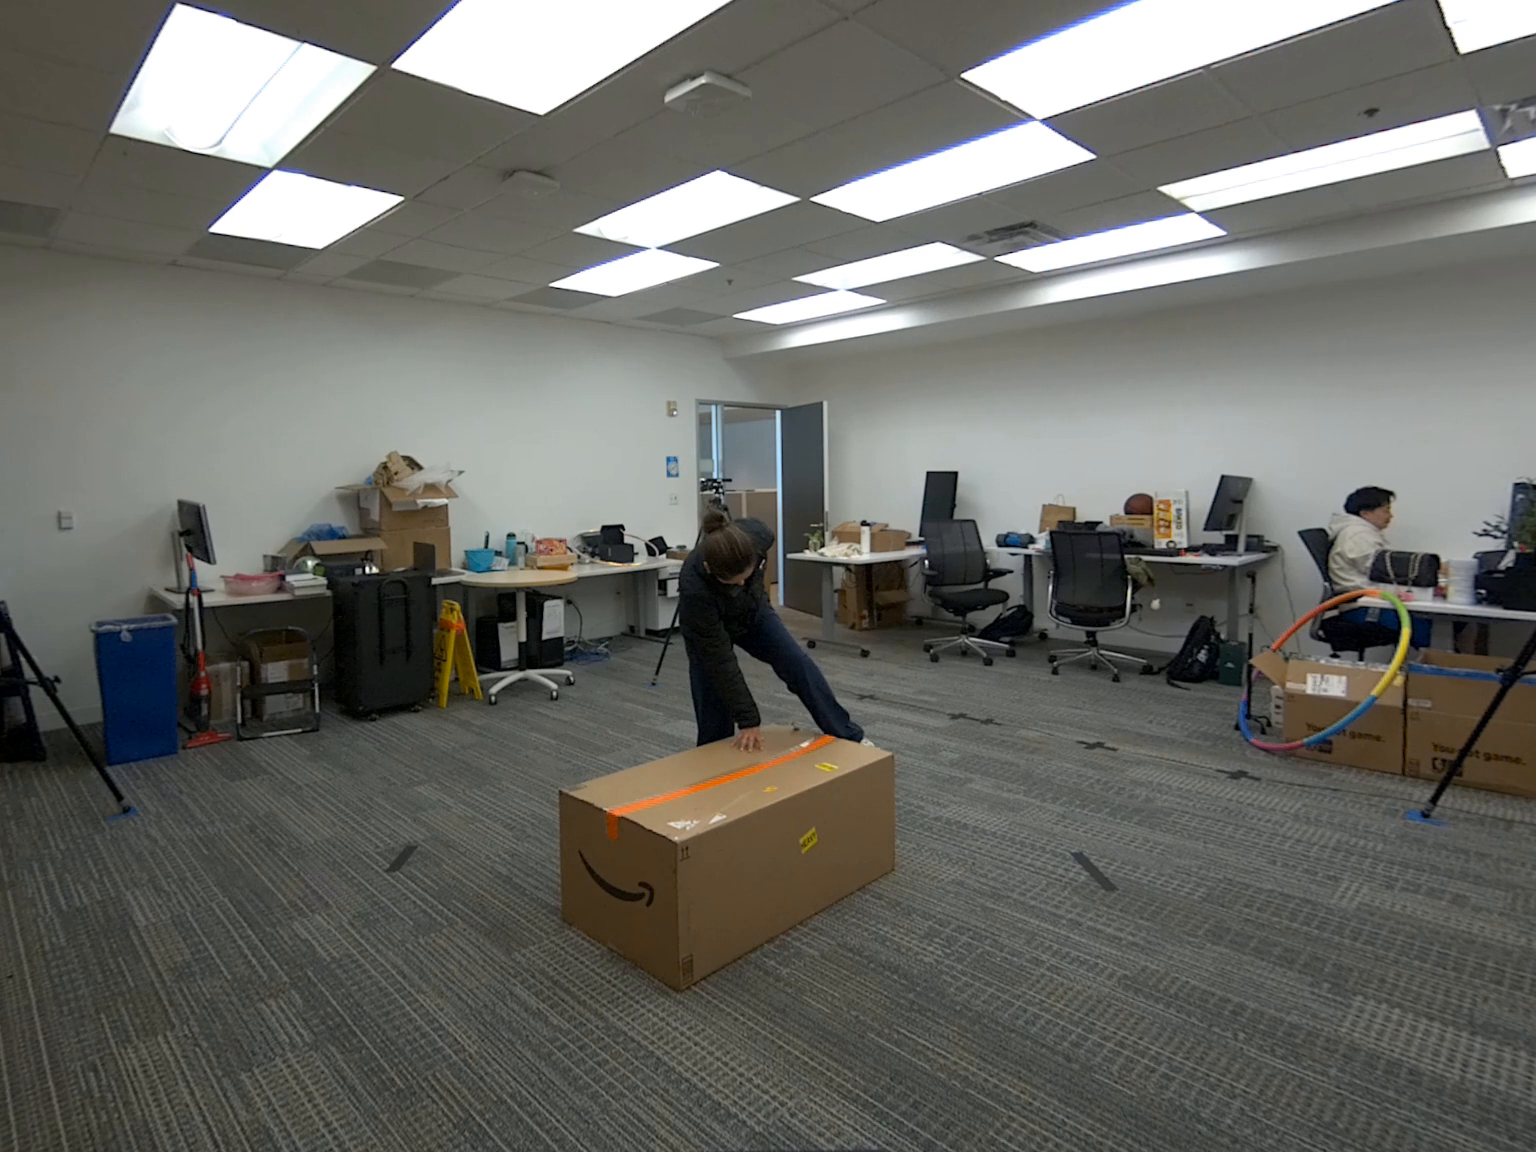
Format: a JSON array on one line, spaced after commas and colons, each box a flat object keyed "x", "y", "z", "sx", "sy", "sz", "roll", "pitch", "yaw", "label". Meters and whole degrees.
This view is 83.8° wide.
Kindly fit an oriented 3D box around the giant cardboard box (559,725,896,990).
[{"x": -0.107, "y": 0.864, "z": 2.884, "sx": 0.601, "sy": 0.445, "sz": 1.001, "roll": 2, "pitch": 7, "yaw": 44, "label": "giant cardboard box"}]
